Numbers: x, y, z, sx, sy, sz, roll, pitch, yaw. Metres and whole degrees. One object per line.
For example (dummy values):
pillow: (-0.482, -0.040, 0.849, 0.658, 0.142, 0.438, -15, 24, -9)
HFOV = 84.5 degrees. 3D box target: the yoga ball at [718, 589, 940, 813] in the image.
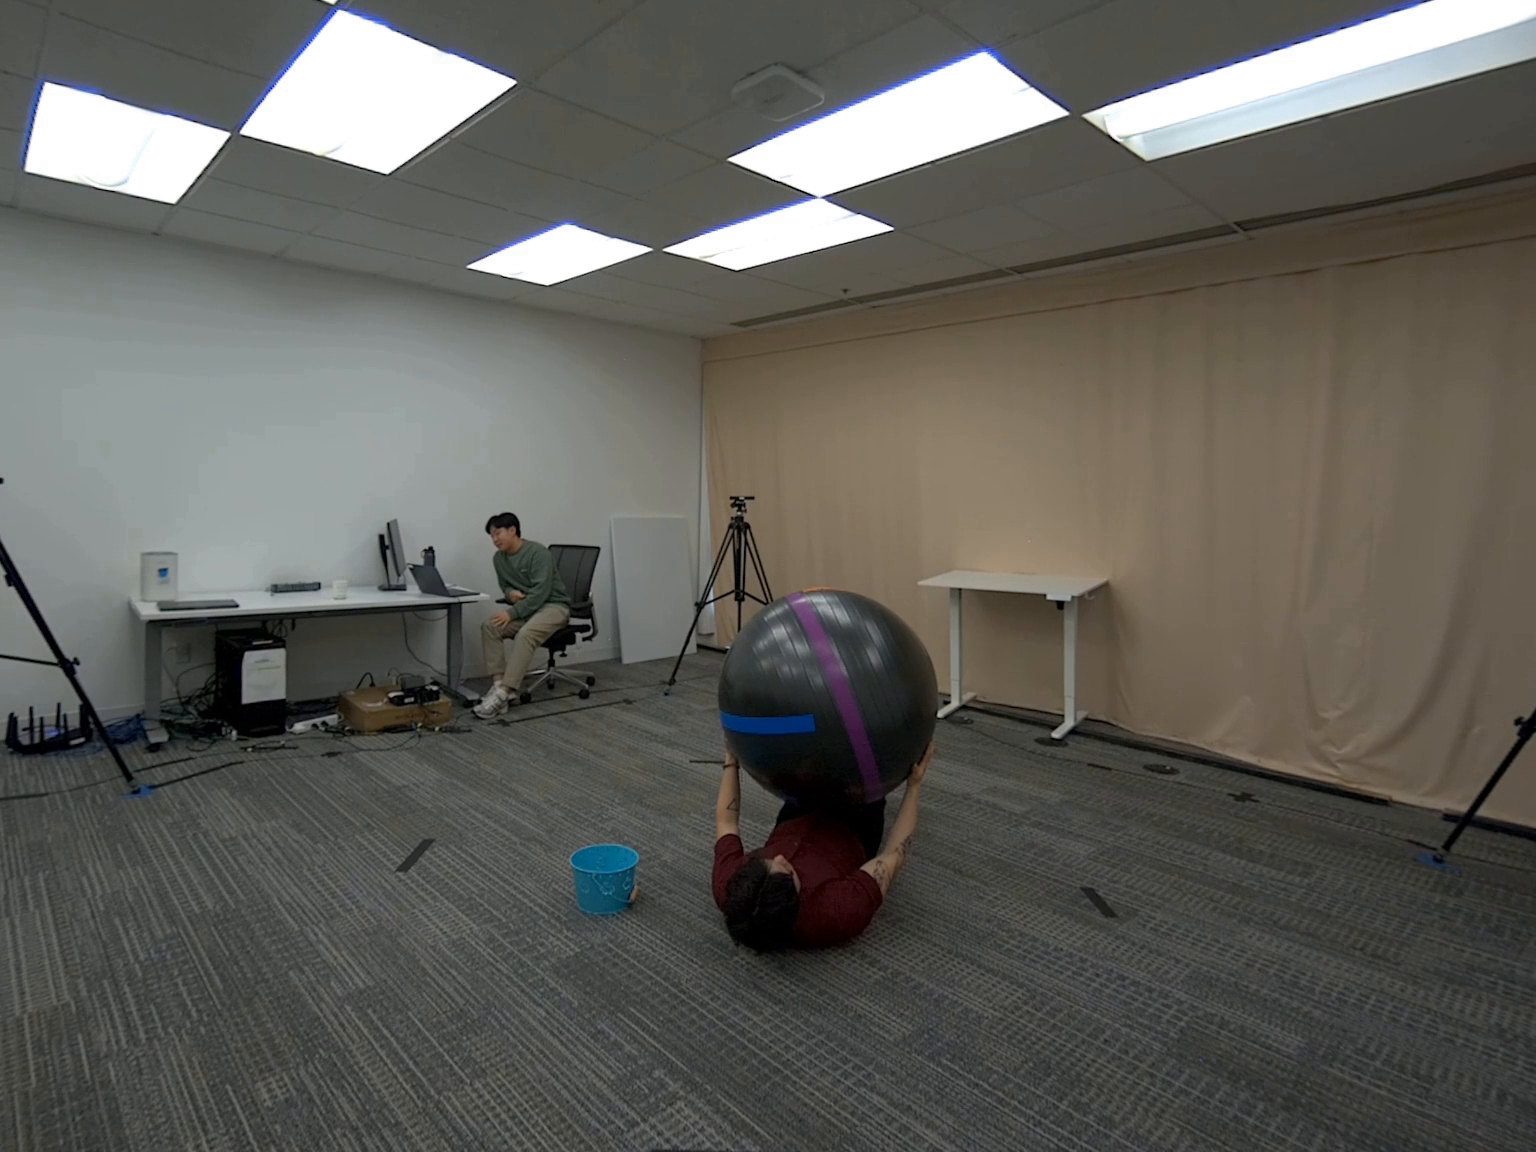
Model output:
yoga ball: (0.202, 0.427, 2.949, 0.757, 0.756, 0.761, 1, 4, -1)
